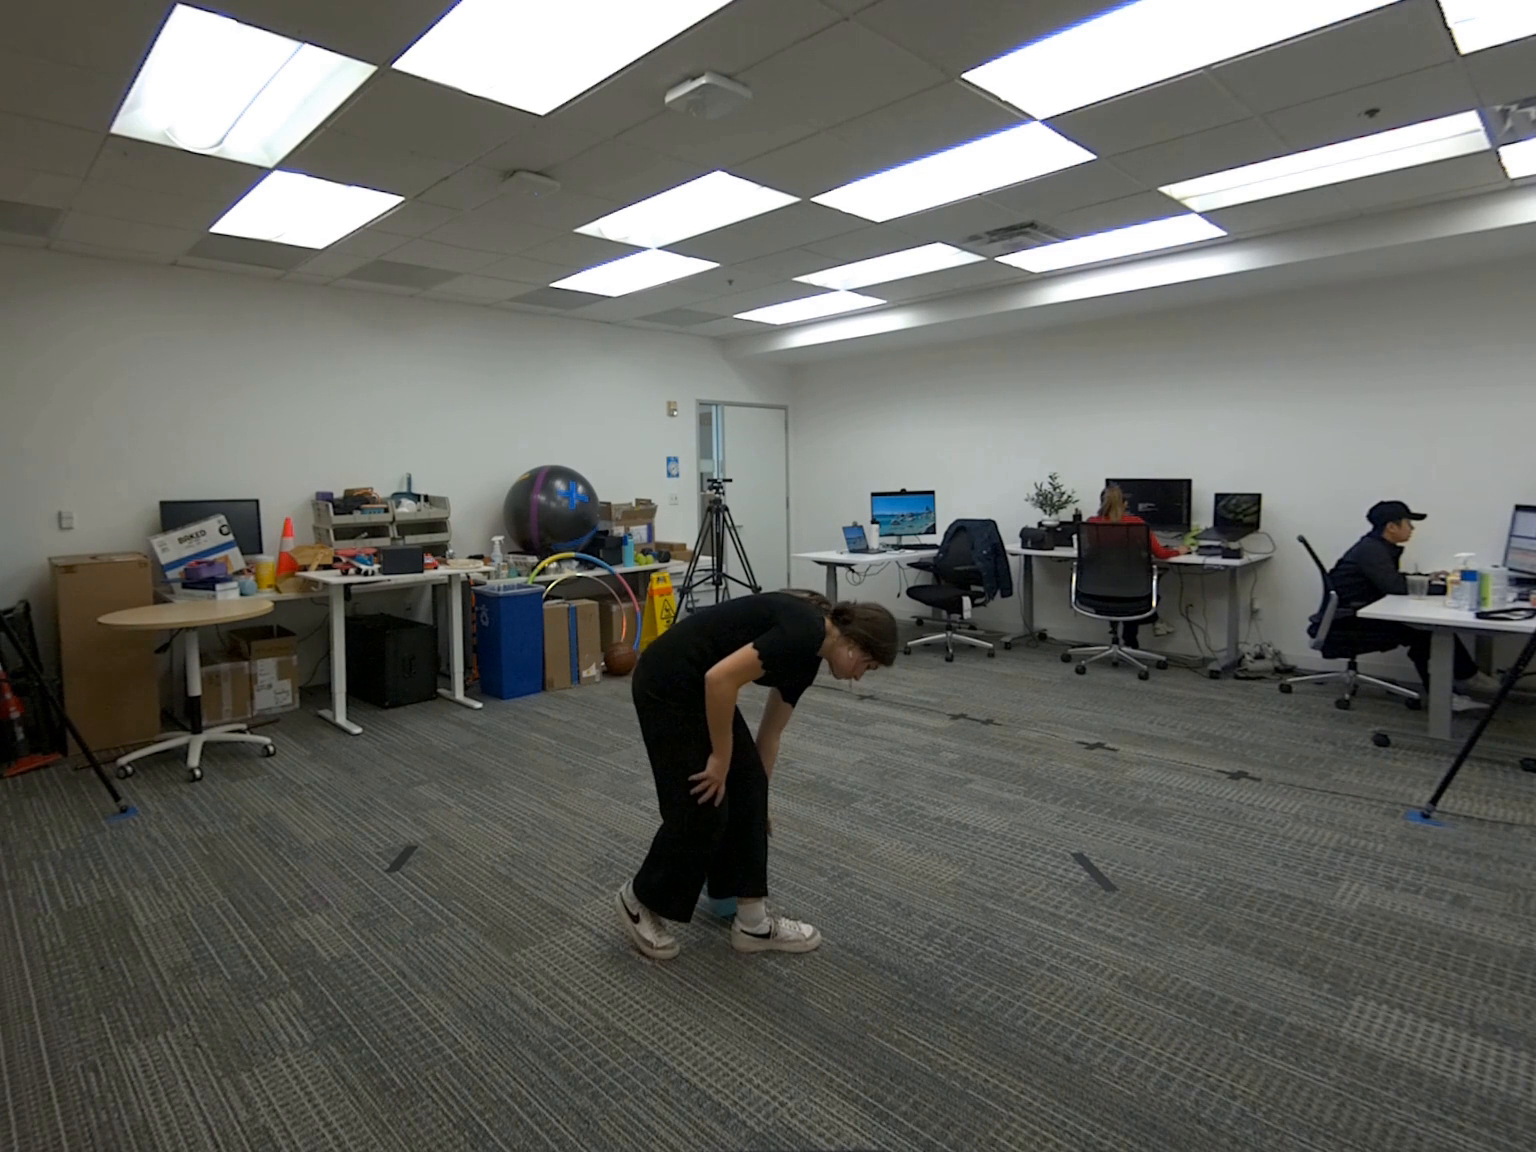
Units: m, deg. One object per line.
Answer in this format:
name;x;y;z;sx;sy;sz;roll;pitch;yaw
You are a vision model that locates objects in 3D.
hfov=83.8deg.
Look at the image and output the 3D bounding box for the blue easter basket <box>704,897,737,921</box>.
blue easter basket;-0.115;0.980;2.763;0.243;0.157;0.242;-24;-4;-4
